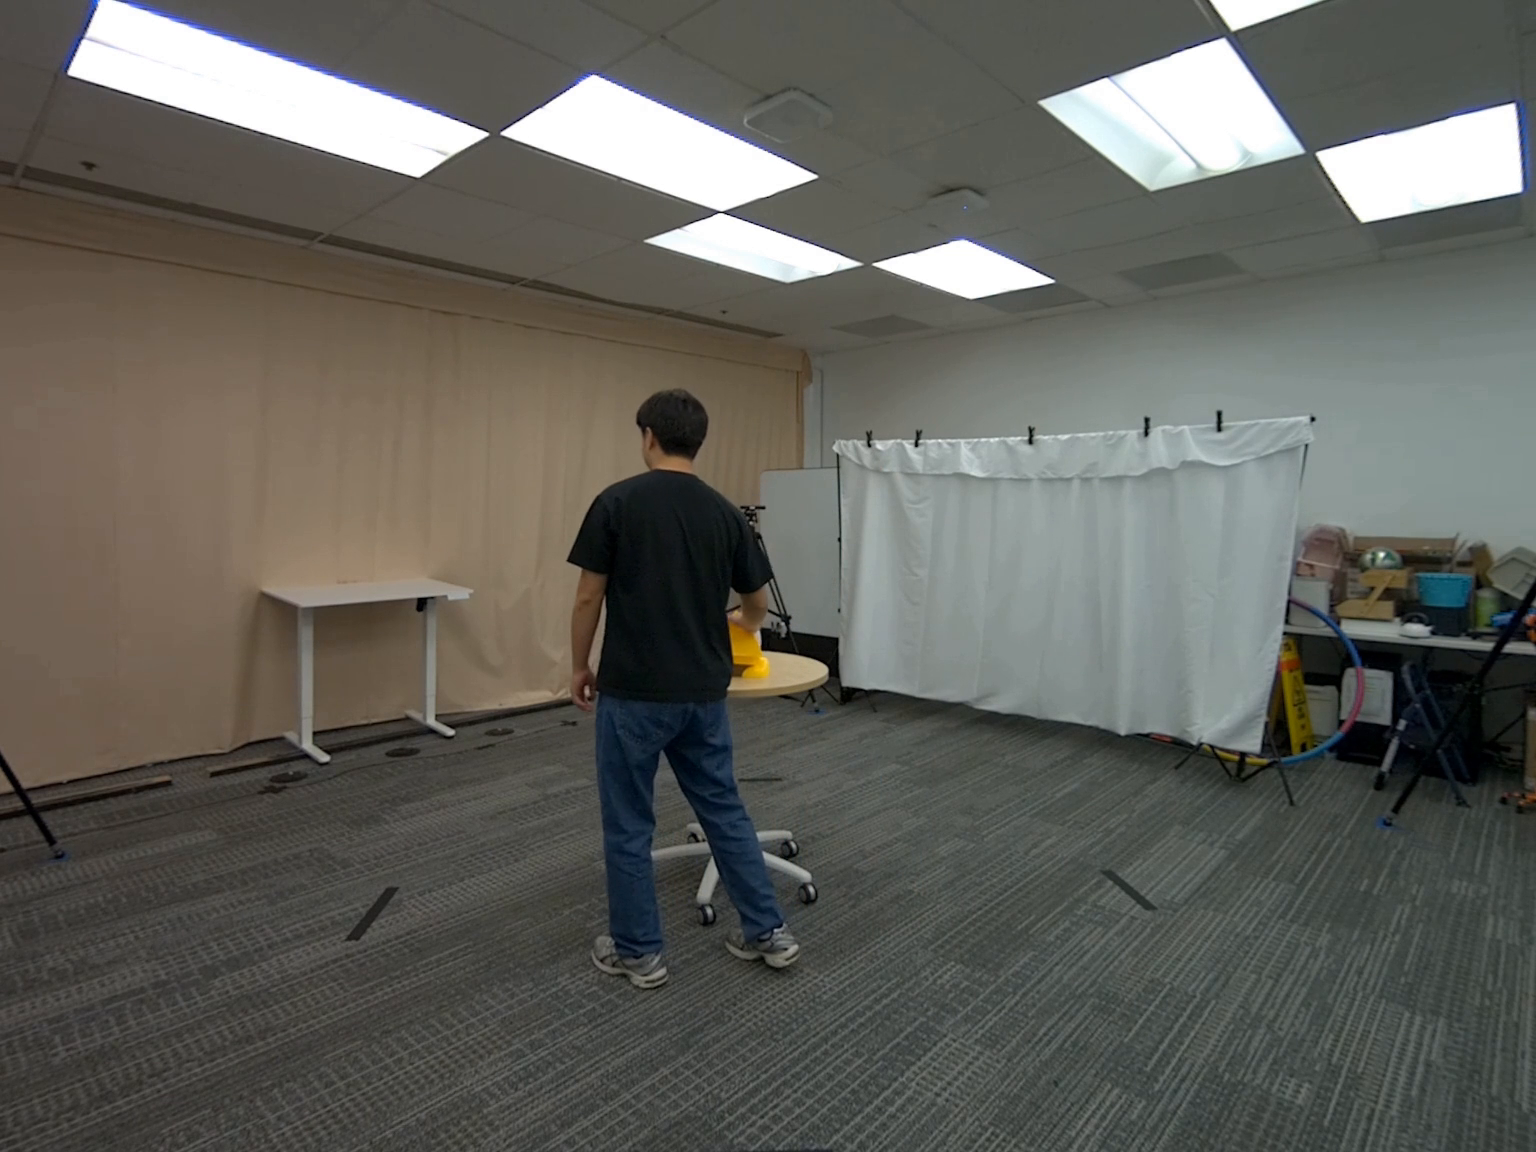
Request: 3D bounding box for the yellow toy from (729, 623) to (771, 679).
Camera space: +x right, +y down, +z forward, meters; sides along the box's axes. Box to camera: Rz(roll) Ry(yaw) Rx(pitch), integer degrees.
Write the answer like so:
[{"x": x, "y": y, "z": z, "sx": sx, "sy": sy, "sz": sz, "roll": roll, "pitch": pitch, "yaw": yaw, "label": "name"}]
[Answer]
[{"x": -0.094, "y": 0.233, "z": 3.002, "sx": 0.208, "sy": 0.230, "sz": 0.190, "roll": 2, "pitch": 5, "yaw": 15, "label": "yellow toy"}]
